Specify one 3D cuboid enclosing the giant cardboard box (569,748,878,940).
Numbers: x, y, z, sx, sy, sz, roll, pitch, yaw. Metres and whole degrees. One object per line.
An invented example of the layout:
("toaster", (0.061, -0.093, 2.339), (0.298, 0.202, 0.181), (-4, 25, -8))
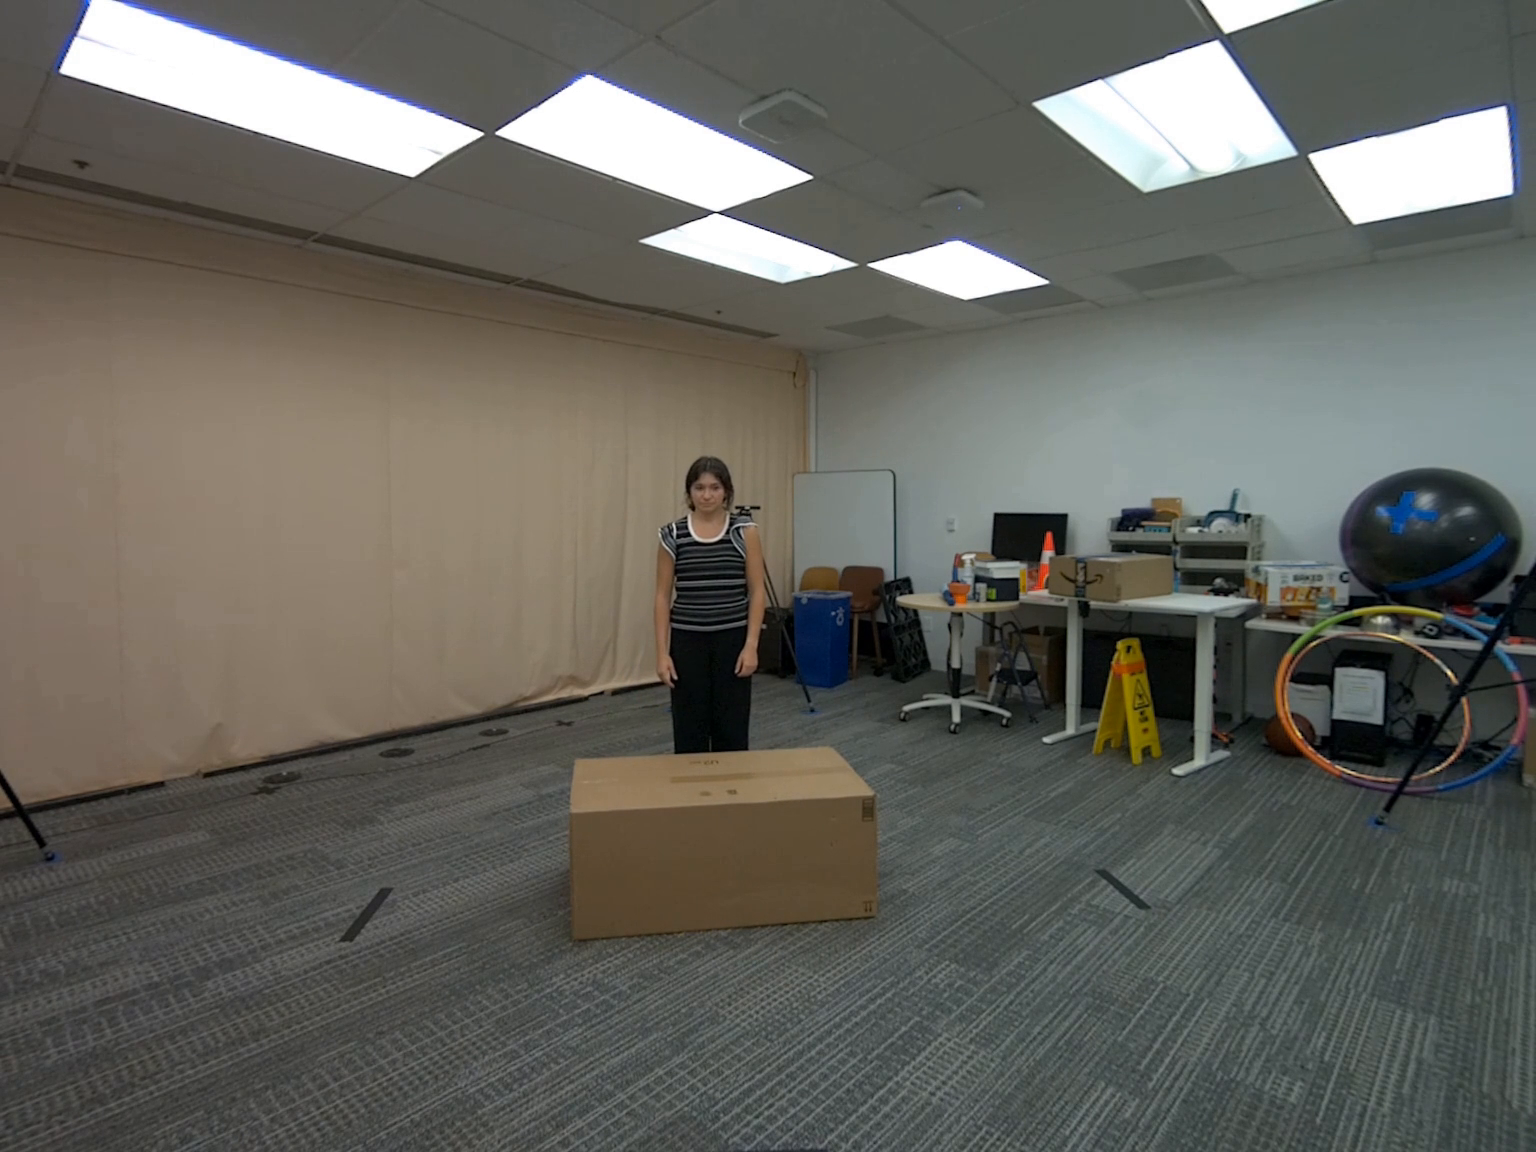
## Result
("giant cardboard box", (-0.188, 0.929, 3.040), (1.016, 0.425, 0.584), (-1, 4, -9))
